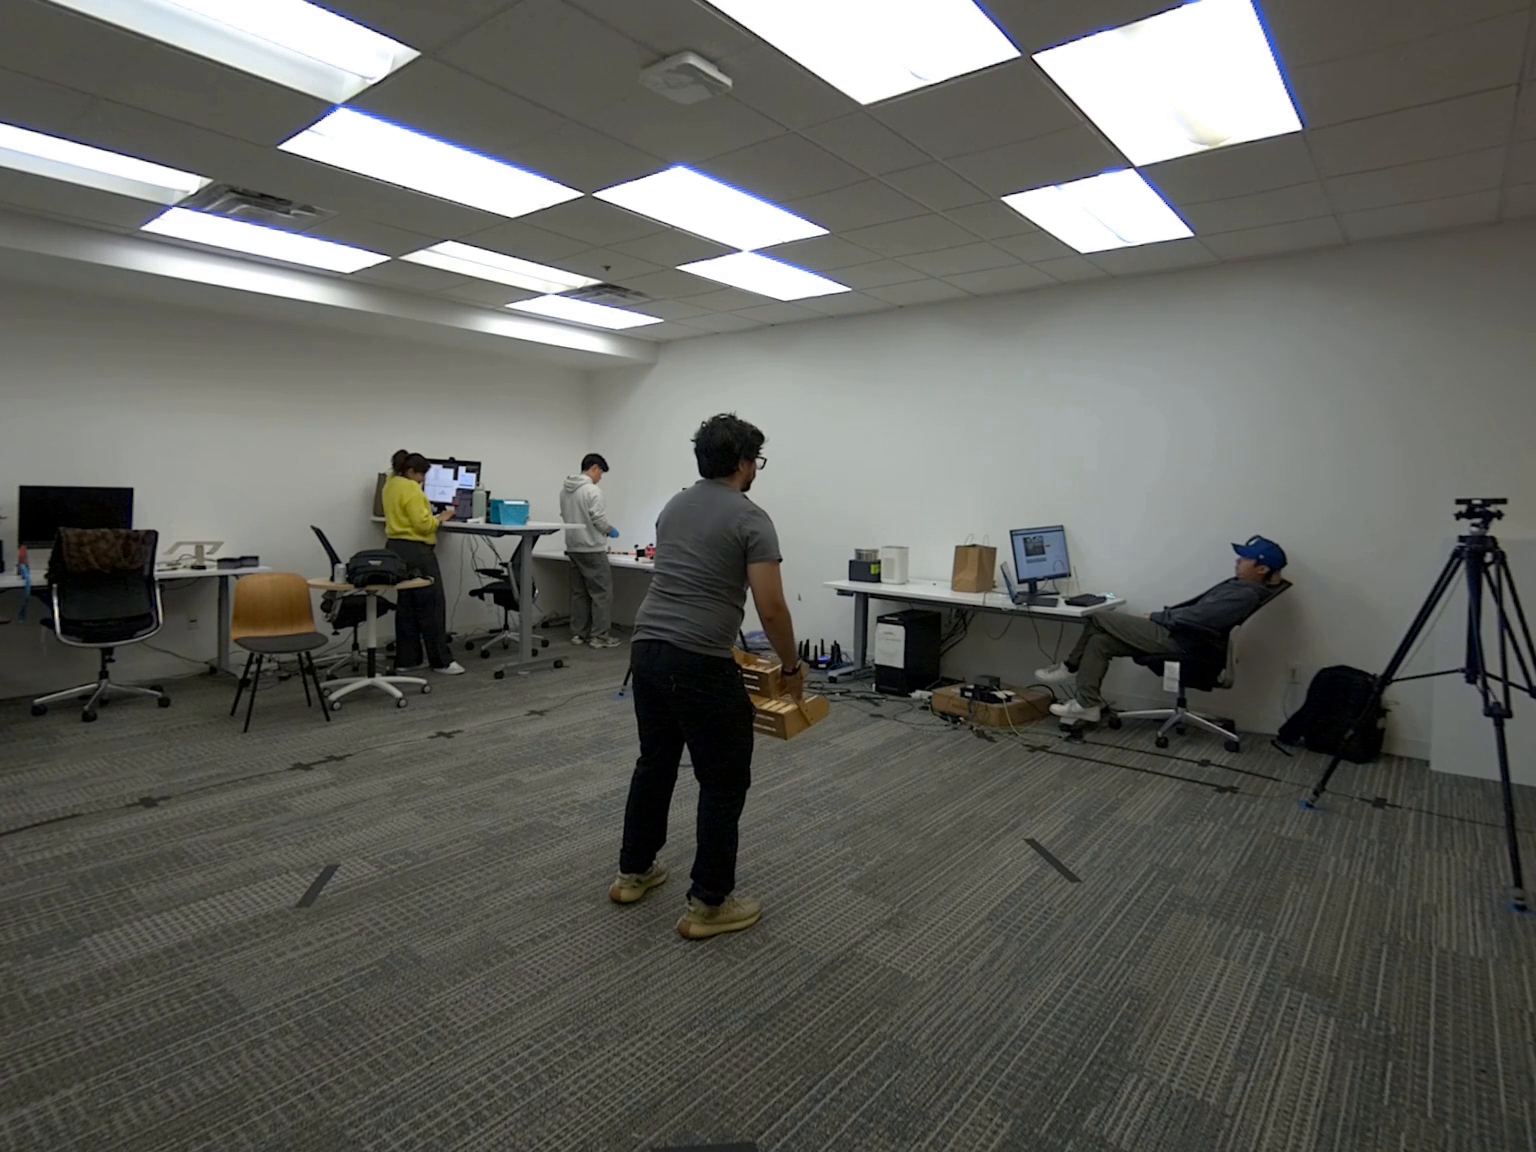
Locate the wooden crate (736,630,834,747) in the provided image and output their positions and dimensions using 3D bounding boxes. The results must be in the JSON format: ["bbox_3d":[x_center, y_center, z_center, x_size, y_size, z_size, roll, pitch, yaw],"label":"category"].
[{"bbox_3d":[-0.005,0.388,3.010,0.335,0.270,0.296,4,17,43],"label":"wooden crate"}]
